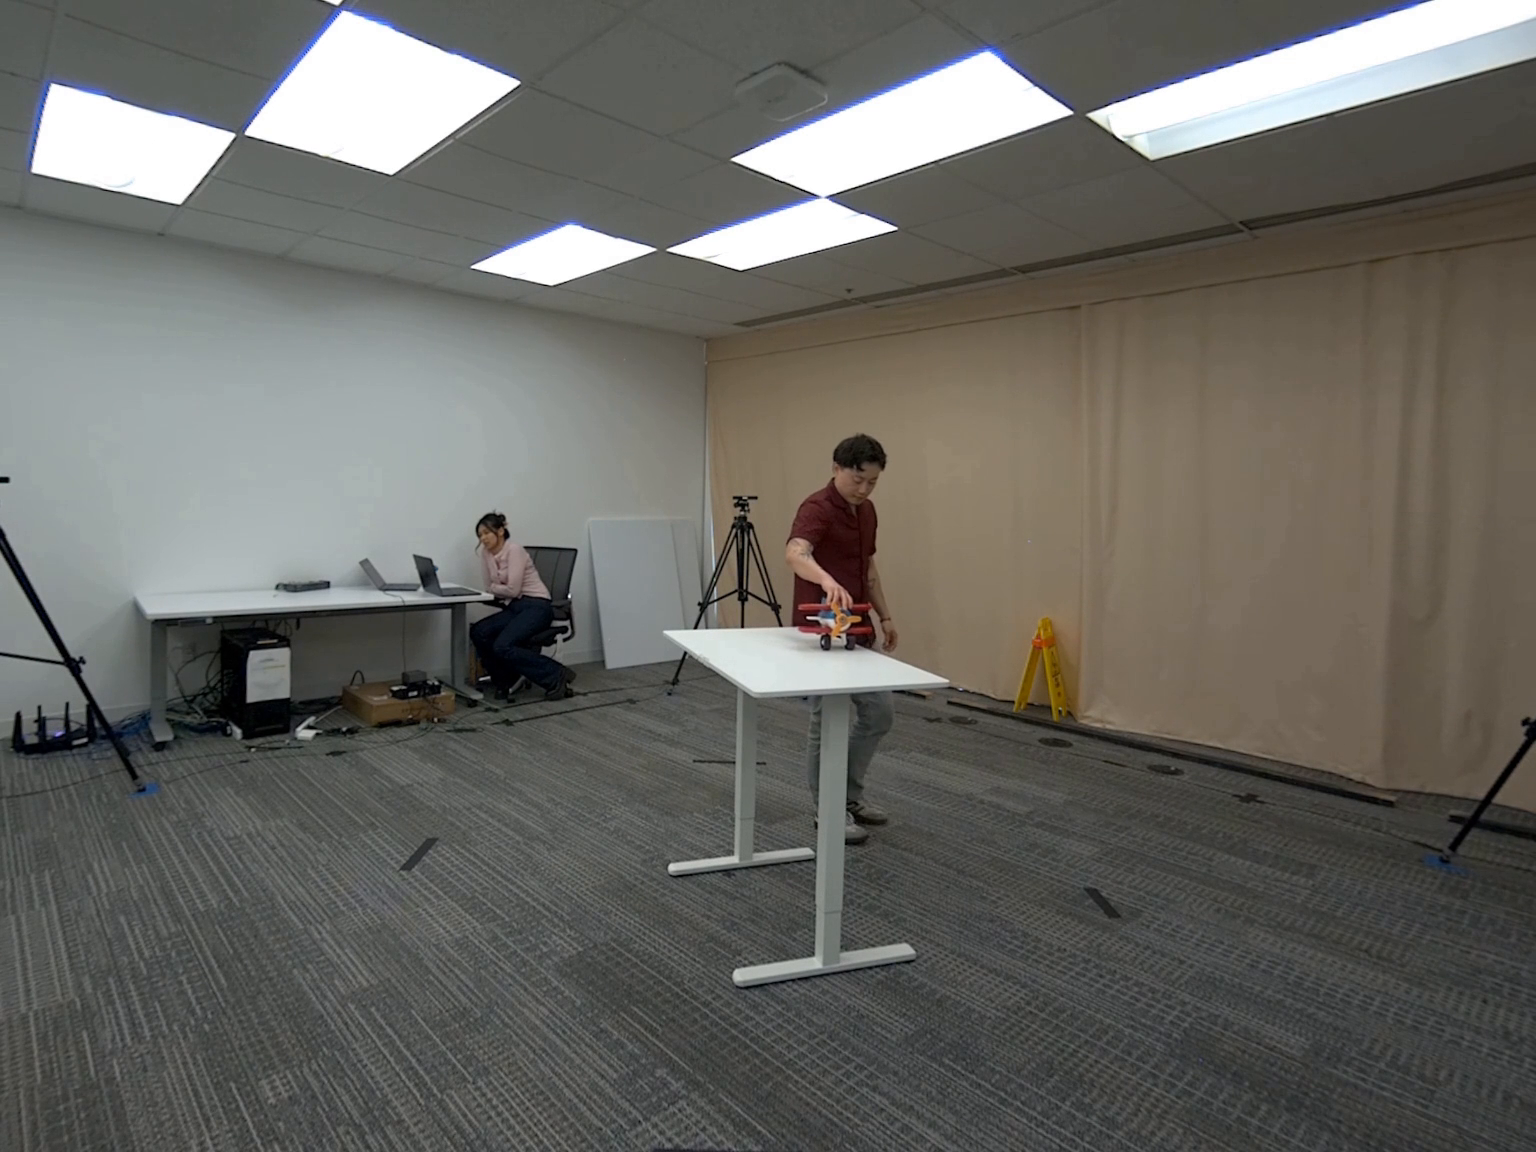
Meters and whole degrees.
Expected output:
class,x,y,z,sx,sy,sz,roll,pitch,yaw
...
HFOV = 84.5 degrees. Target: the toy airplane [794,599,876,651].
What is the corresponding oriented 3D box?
class,x,y,z,sx,sy,sz,roll,pitch,yaw
toy airplane,0.192,0.158,2.933,0.246,0.155,0.267,-8,17,-37
